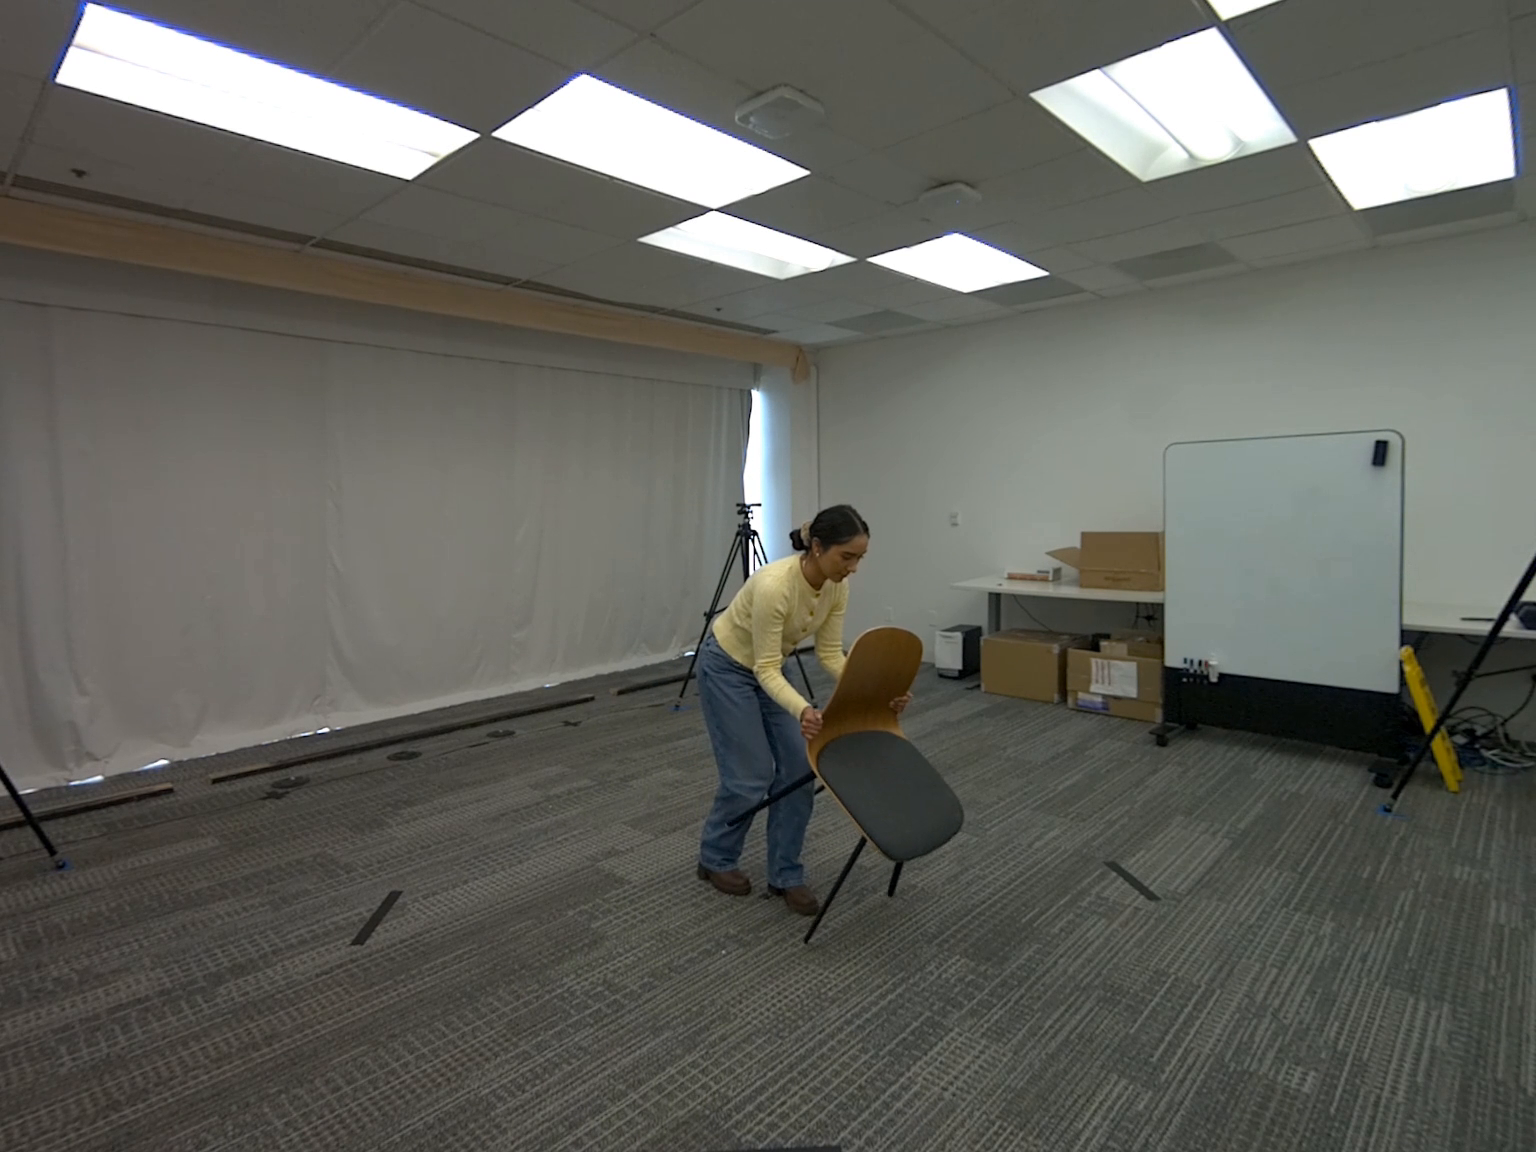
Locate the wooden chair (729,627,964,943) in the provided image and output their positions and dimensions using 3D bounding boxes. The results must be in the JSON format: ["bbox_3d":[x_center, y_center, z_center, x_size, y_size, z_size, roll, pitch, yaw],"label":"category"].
[{"bbox_3d":[0.340,0.658,2.665,0.463,0.875,0.541,-4,39,-45],"label":"wooden chair"}]
